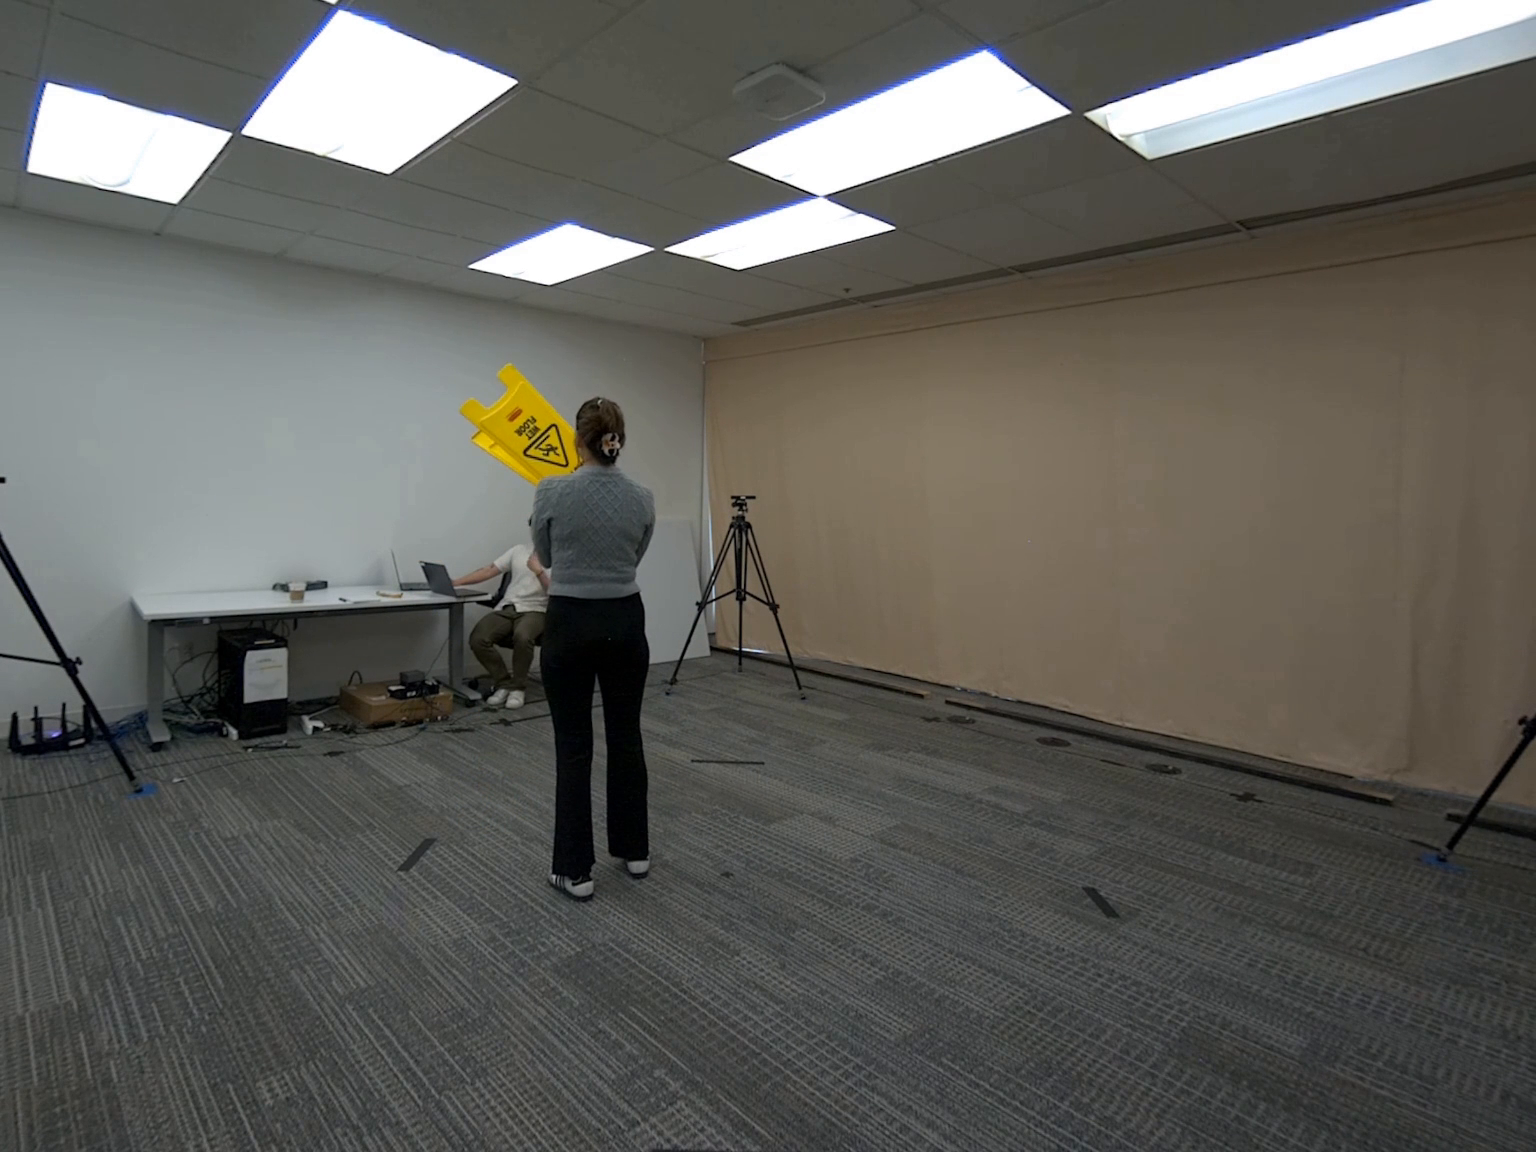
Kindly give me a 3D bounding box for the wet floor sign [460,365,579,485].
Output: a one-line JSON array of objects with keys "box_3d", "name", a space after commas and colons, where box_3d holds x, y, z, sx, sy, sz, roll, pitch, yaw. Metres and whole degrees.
[{"box_3d": [-0.886, -0.490, 3.365, 0.648, 0.282, 0.289, 42, -16, 2], "name": "wet floor sign"}]
